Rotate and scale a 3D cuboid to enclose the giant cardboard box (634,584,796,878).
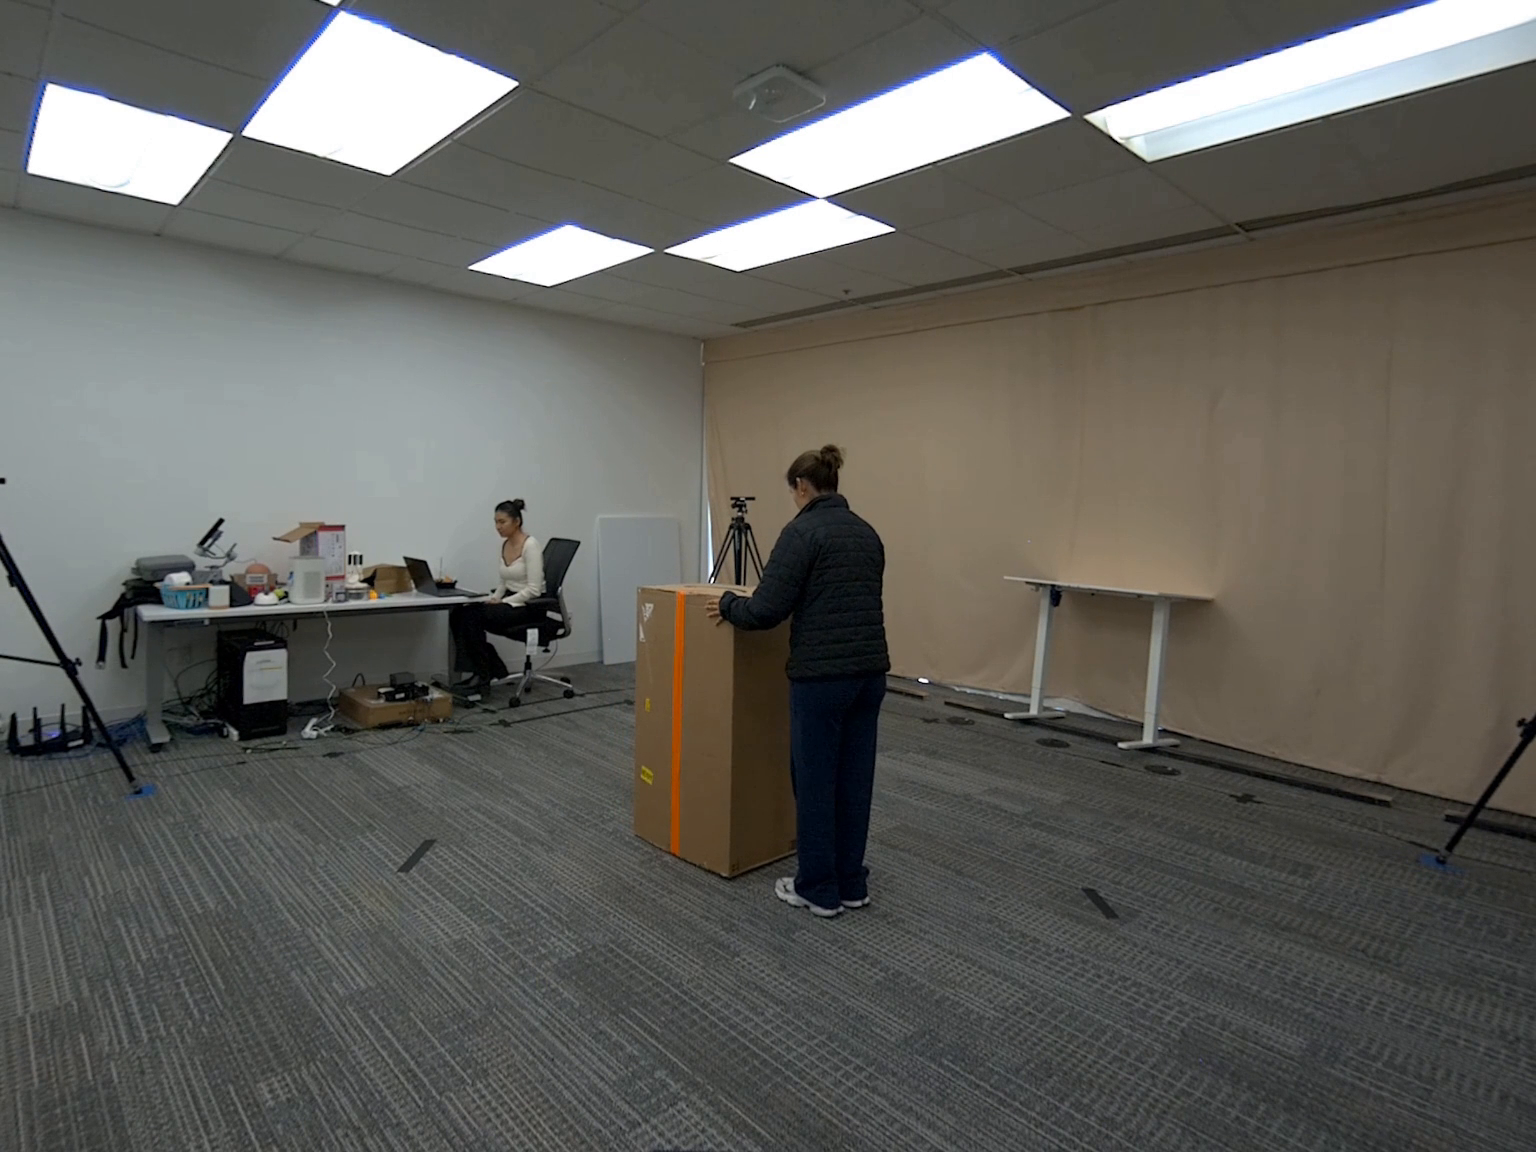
[{"bbox_3d":[-0.203,0.573,3.372,0.416,1.024,0.592,-1,3,-45],"label":"giant cardboard box"}]
